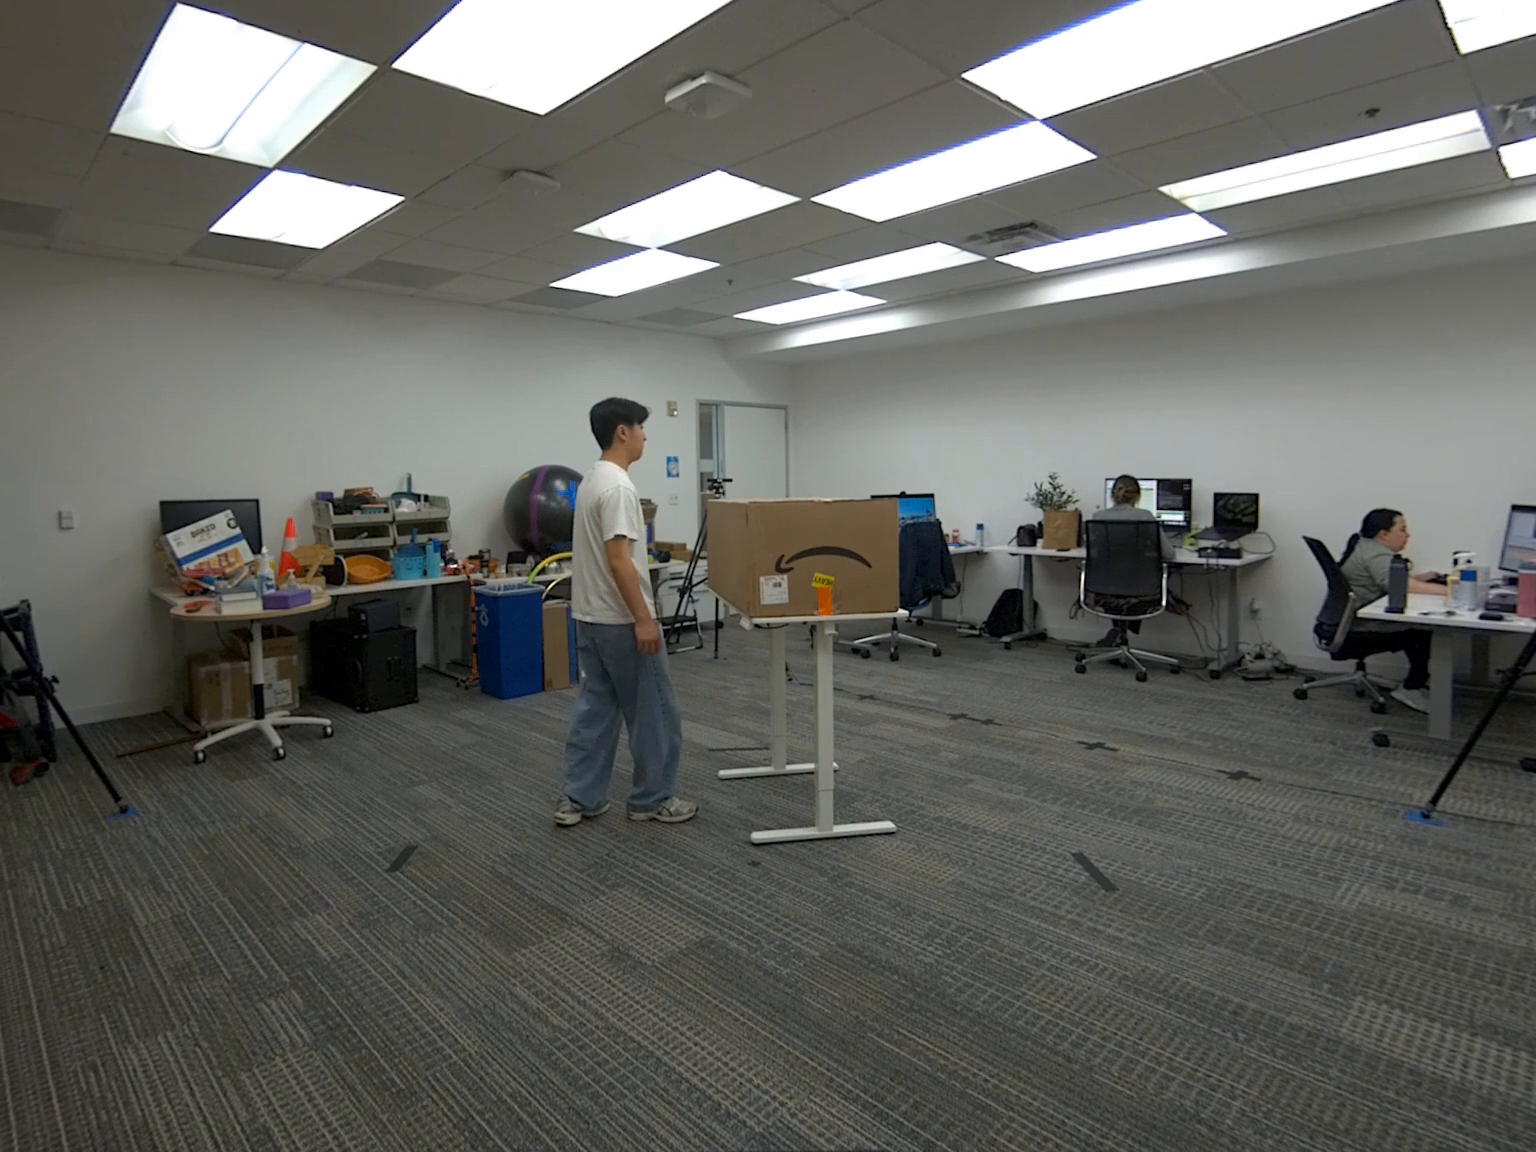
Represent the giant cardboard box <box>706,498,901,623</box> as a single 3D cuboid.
[{"bbox_3d":[0.094,-0.110,3.640,0.572,0.424,1.040,-2,5,-11],"label":"giant cardboard box"}]
